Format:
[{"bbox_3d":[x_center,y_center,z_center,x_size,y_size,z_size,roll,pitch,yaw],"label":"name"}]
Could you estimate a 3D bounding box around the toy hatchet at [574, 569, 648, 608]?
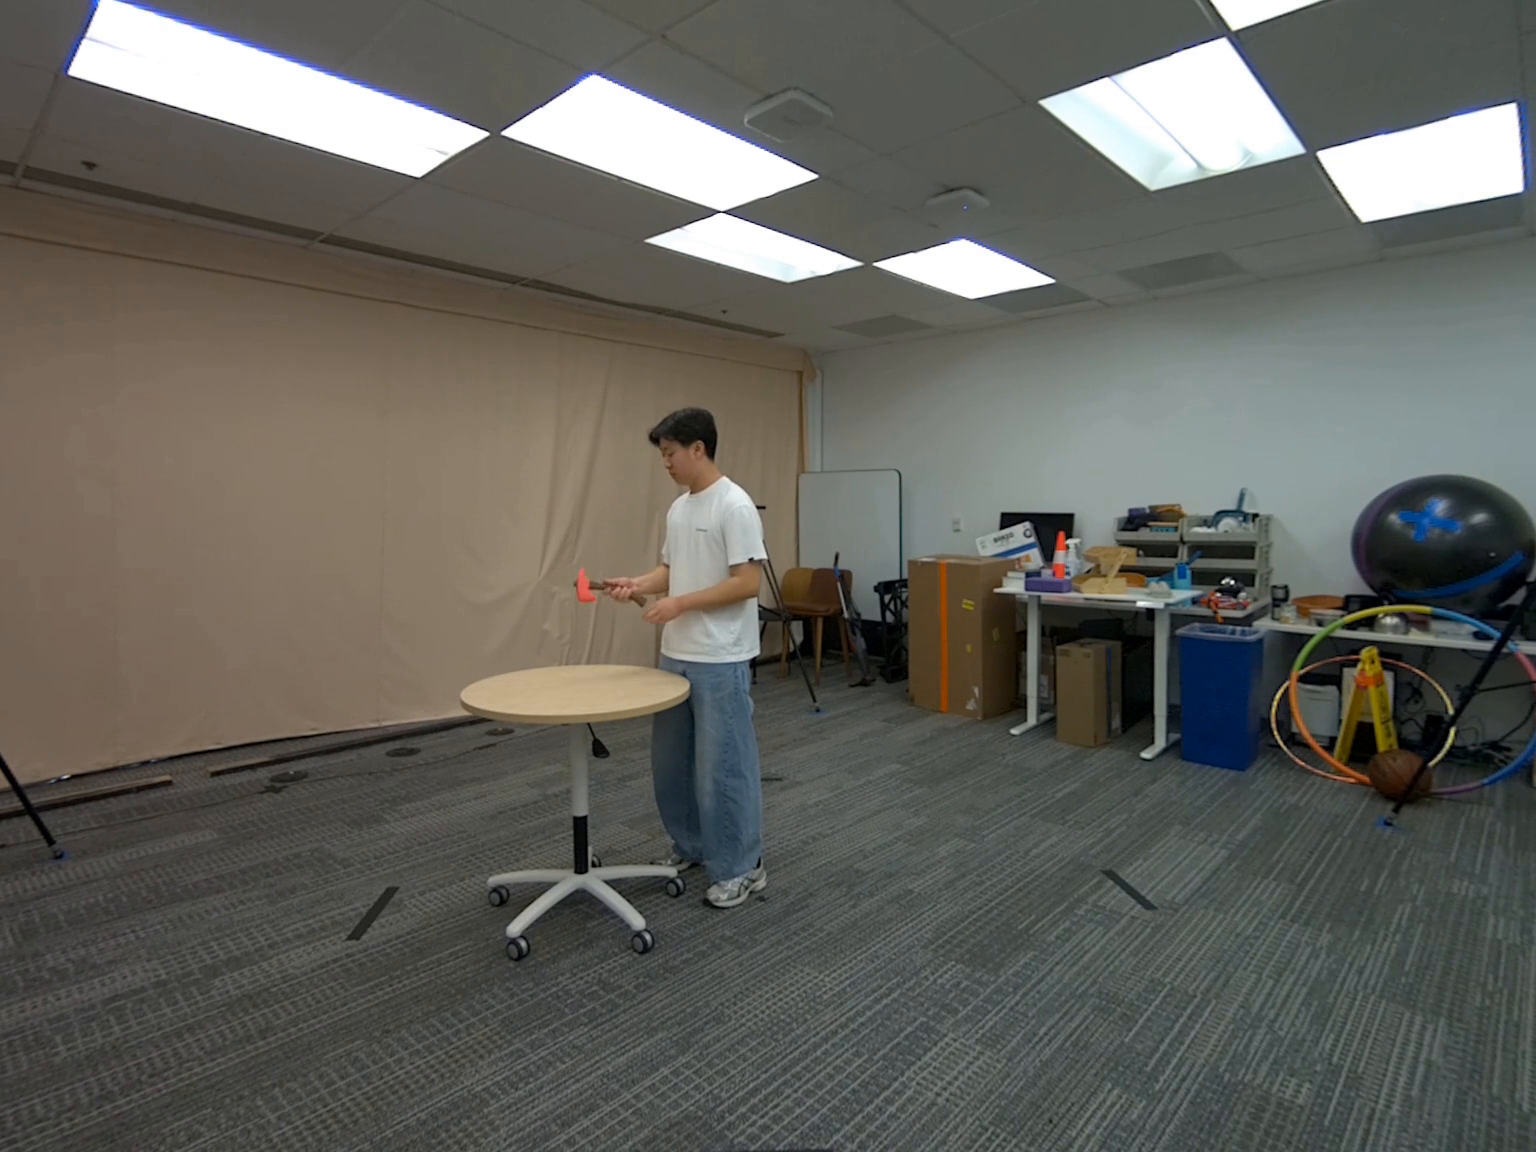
[{"bbox_3d":[-0.566,0.063,3.016,0.265,0.132,0.030,20,-27,-14],"label":"toy hatchet"}]
